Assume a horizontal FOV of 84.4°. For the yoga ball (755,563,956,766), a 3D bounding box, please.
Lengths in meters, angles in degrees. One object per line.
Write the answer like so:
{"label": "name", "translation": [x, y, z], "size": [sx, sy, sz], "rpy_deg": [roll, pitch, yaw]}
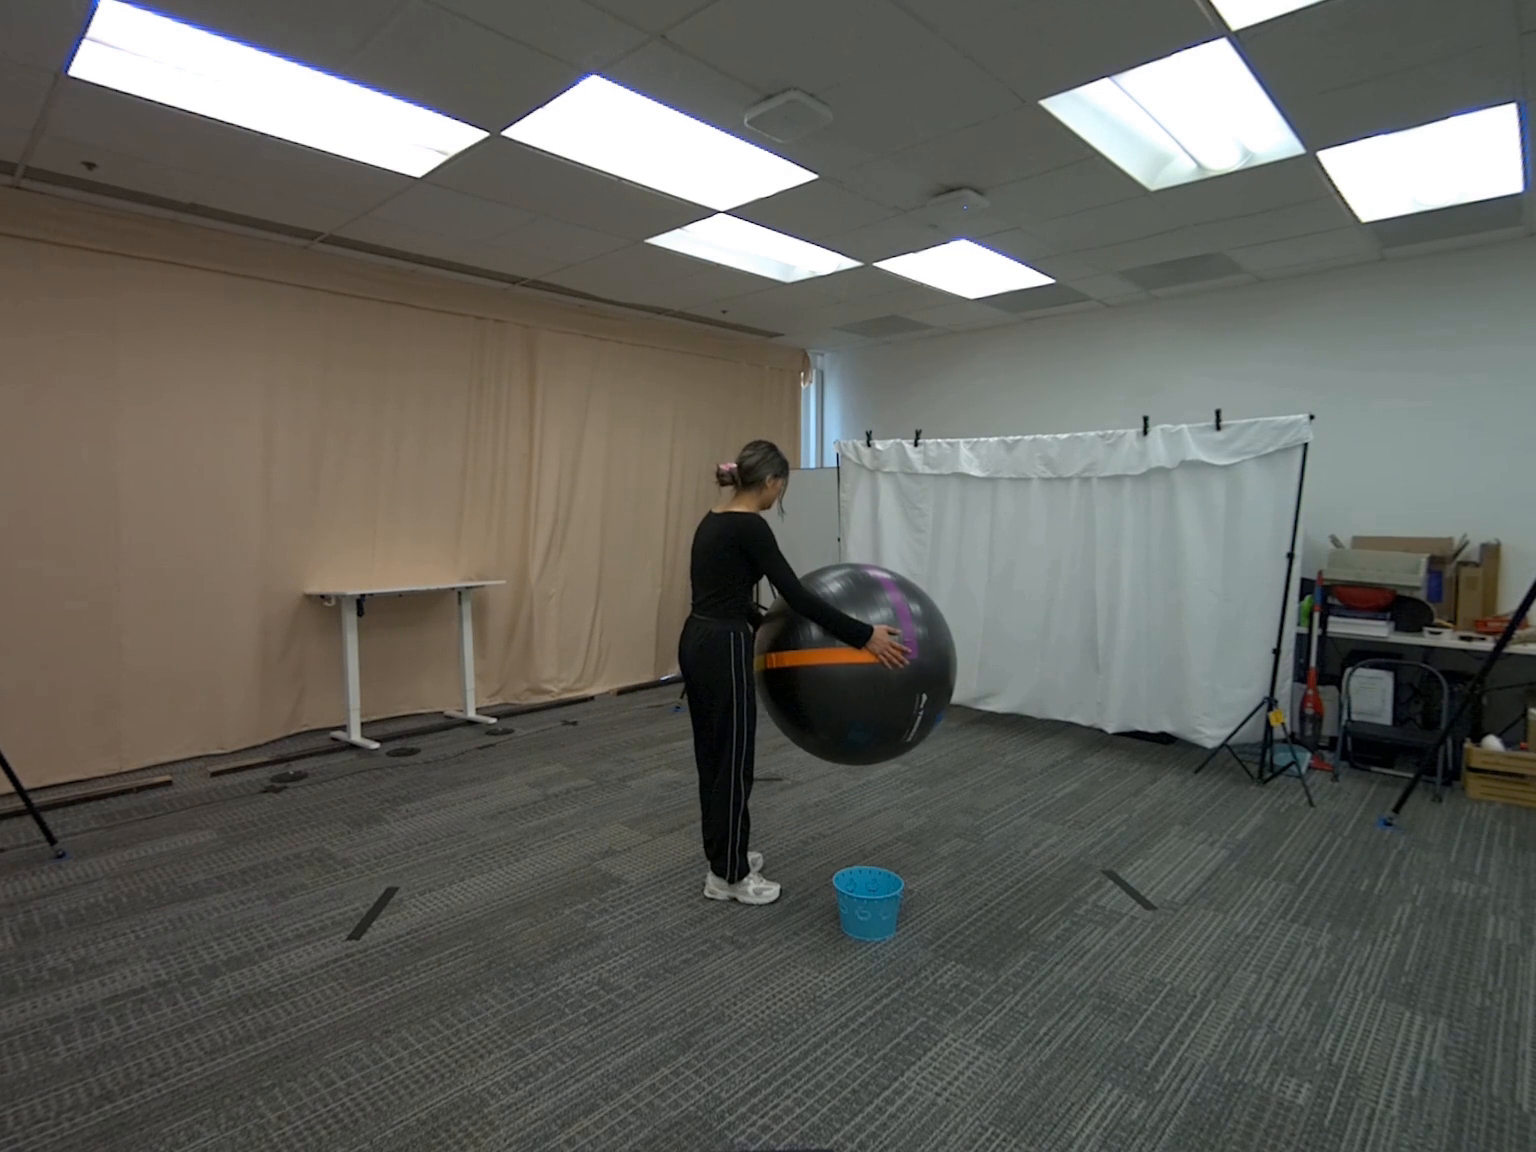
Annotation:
{"label": "yoga ball", "translation": [0.335, 0.338, 3.197], "size": [0.757, 0.756, 0.760], "rpy_deg": [0, 4, -2]}
